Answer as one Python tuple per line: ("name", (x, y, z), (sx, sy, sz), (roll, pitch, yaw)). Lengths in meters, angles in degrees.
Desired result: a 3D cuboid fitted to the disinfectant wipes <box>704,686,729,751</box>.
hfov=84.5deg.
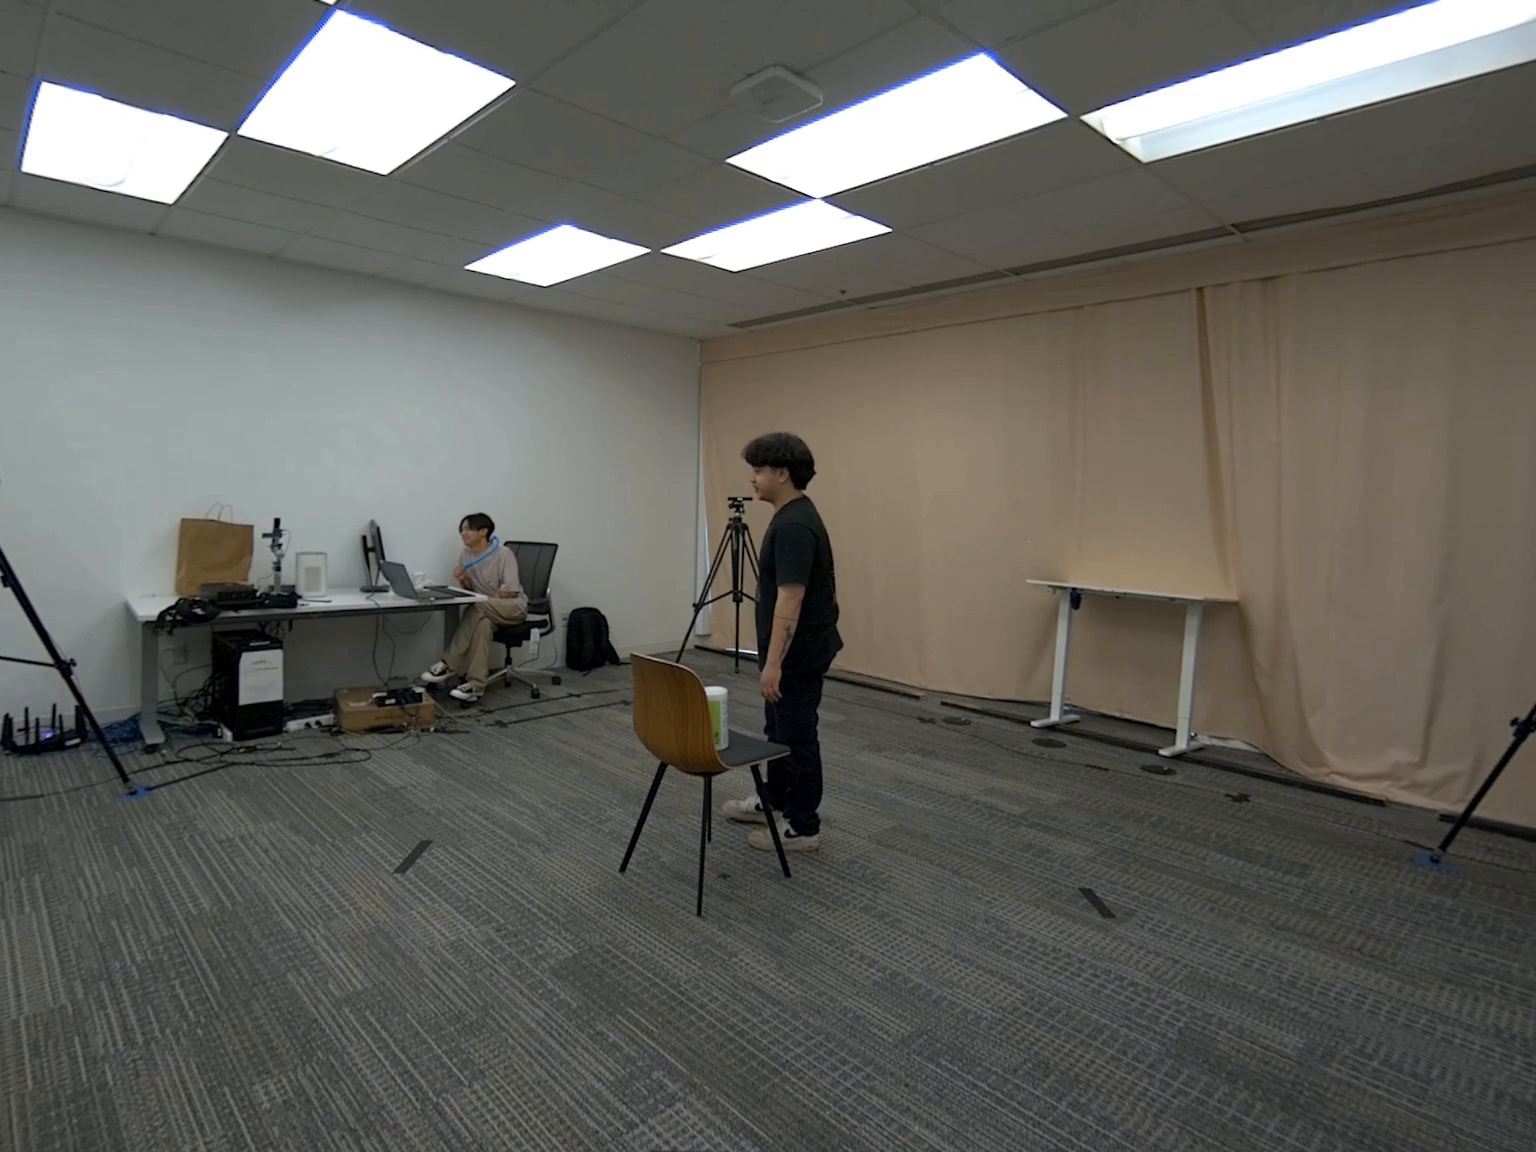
("disinfectant wipes", (-0.208, 0.526, 3.102), (0.118, 0.216, 0.118), (-2, 5, -1))
